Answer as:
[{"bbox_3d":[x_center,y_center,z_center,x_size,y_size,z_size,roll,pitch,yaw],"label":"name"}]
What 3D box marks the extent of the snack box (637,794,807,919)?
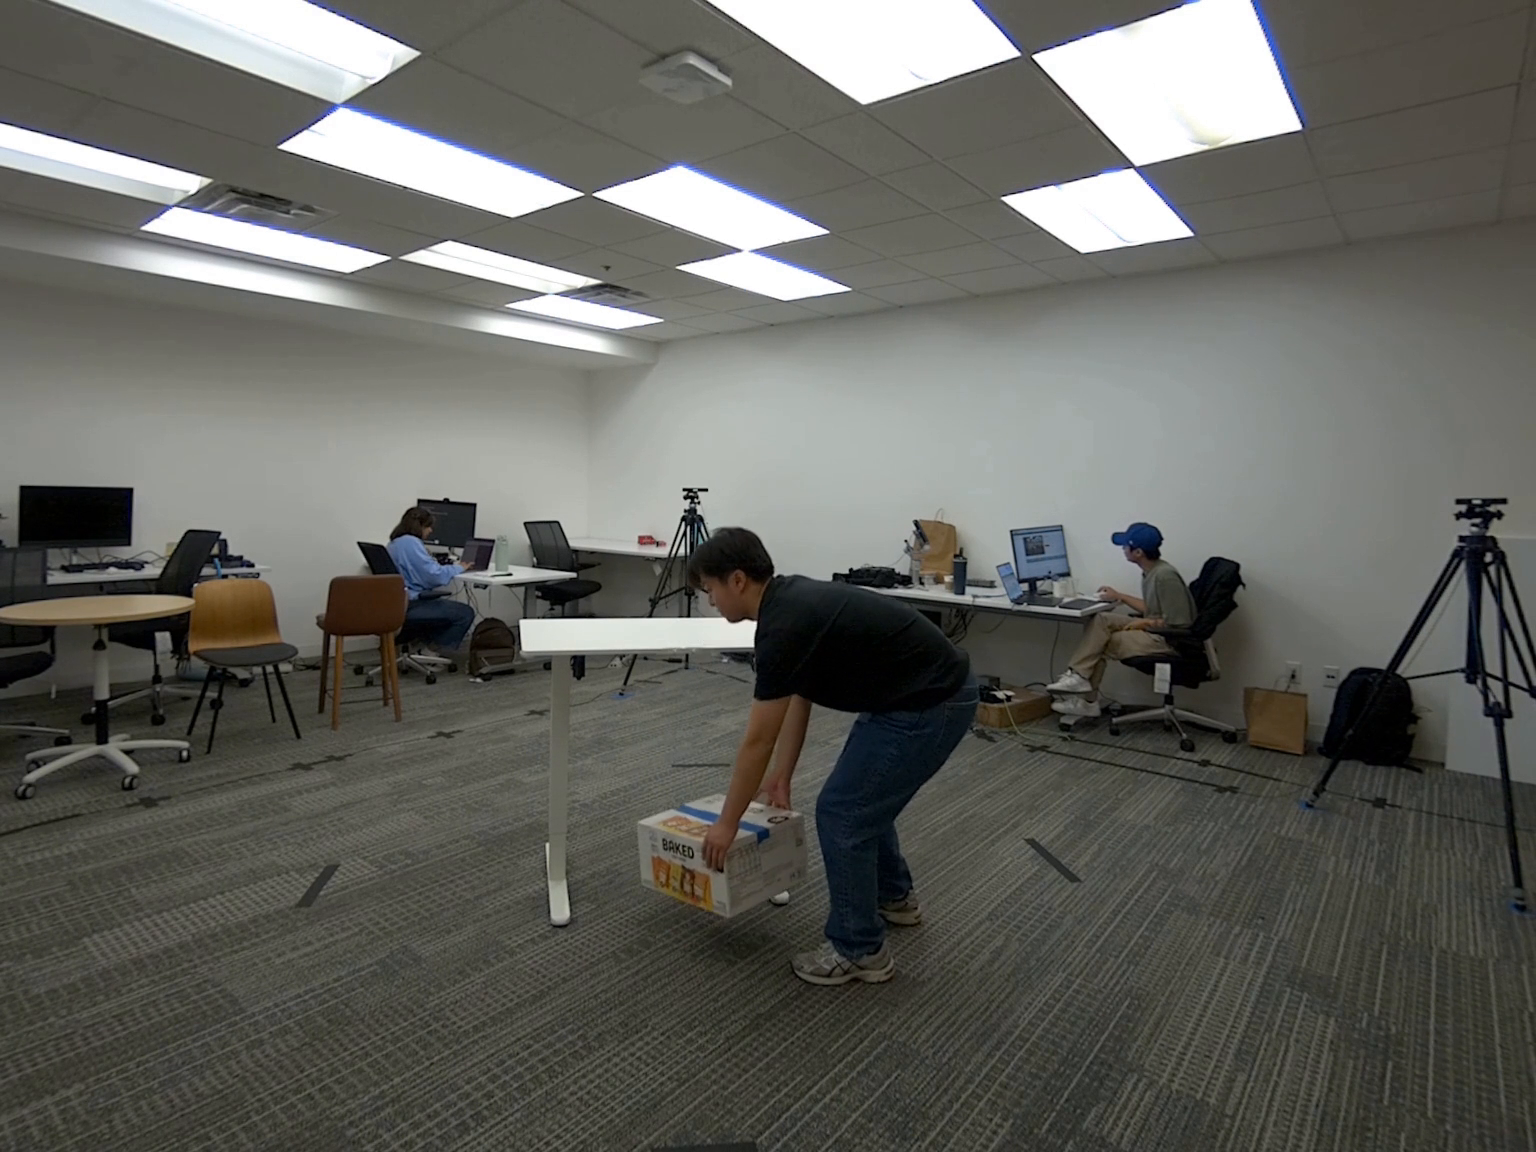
[{"bbox_3d":[-0.159,0.848,2.637,0.331,0.205,0.417,-7,3,-44],"label":"snack box"}]
